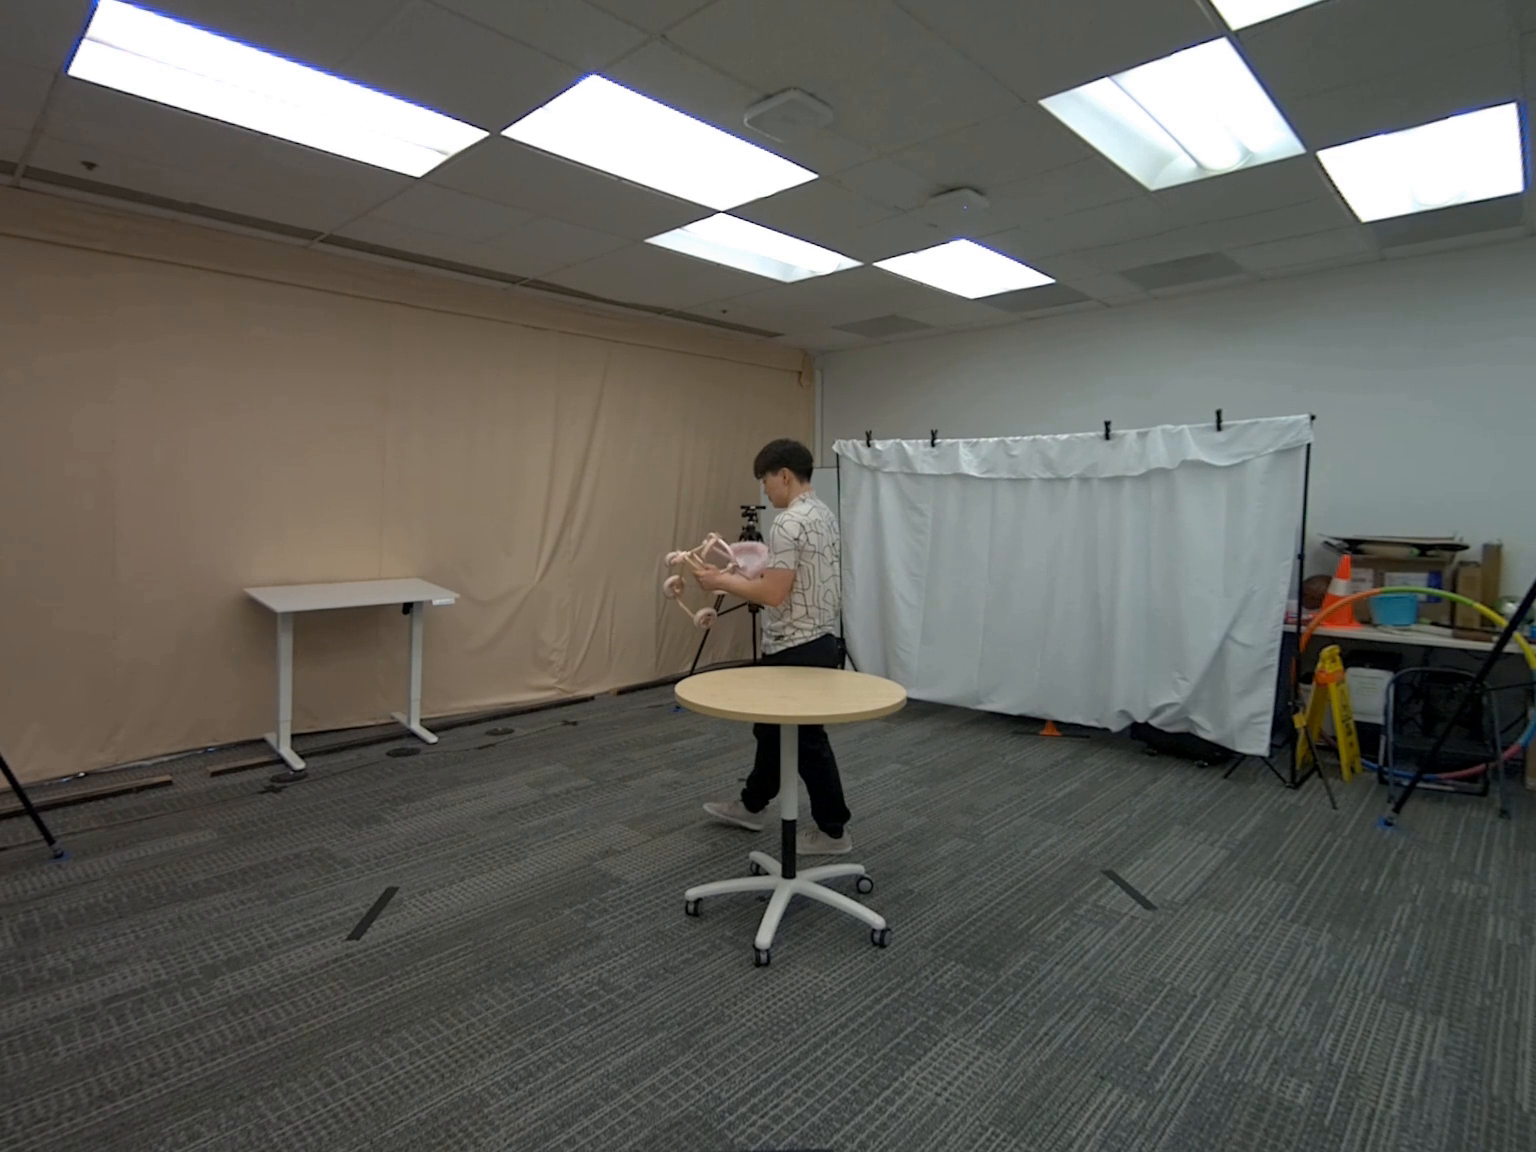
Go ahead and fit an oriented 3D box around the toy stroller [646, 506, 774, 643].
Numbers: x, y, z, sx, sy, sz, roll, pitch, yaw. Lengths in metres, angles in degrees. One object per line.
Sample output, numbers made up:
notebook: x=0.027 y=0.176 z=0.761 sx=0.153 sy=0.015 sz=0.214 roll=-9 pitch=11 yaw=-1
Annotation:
toy stroller: x=-0.195 y=-0.019 z=3.509 sx=0.524 sy=0.336 sz=0.292 roll=-18 pitch=37 yaw=-28
